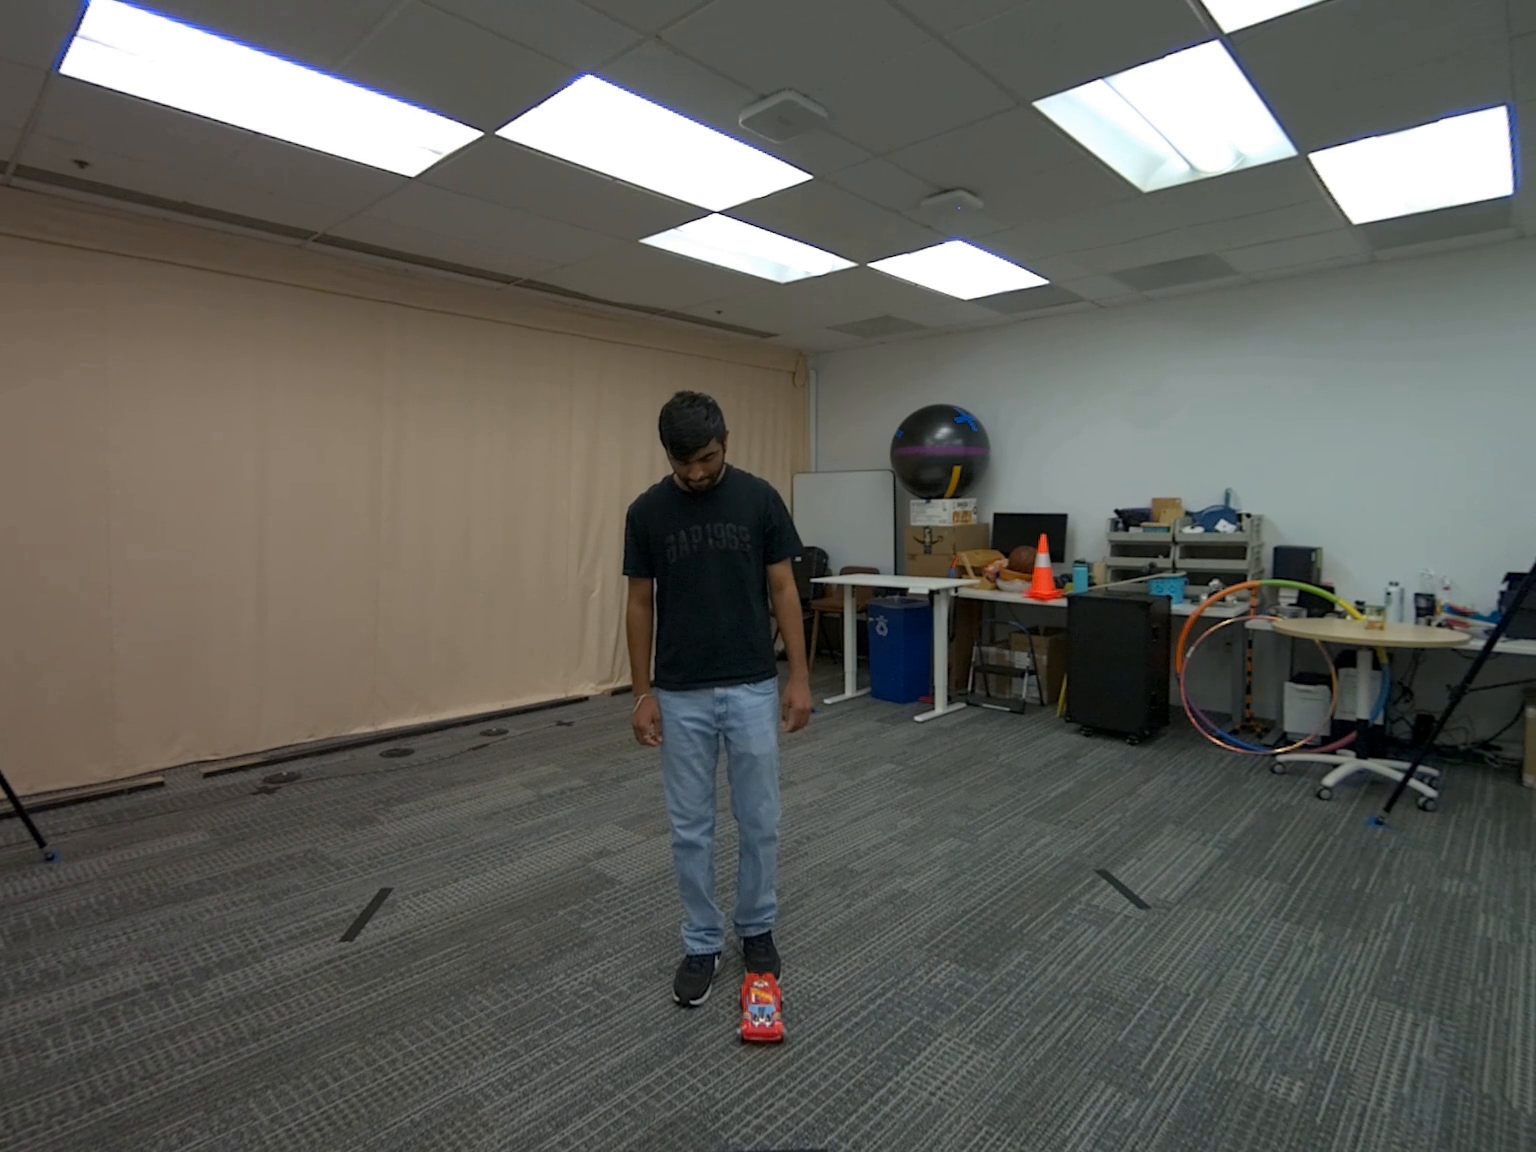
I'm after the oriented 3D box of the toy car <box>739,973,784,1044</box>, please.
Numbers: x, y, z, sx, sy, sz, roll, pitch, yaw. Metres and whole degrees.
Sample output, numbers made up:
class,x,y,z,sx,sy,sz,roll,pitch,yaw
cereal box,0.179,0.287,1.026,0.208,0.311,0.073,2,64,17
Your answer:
class,x,y,z,sx,sy,sz,roll,pitch,yaw
toy car,-0.020,1.165,2.278,0.130,0.082,0.257,-1,16,0
